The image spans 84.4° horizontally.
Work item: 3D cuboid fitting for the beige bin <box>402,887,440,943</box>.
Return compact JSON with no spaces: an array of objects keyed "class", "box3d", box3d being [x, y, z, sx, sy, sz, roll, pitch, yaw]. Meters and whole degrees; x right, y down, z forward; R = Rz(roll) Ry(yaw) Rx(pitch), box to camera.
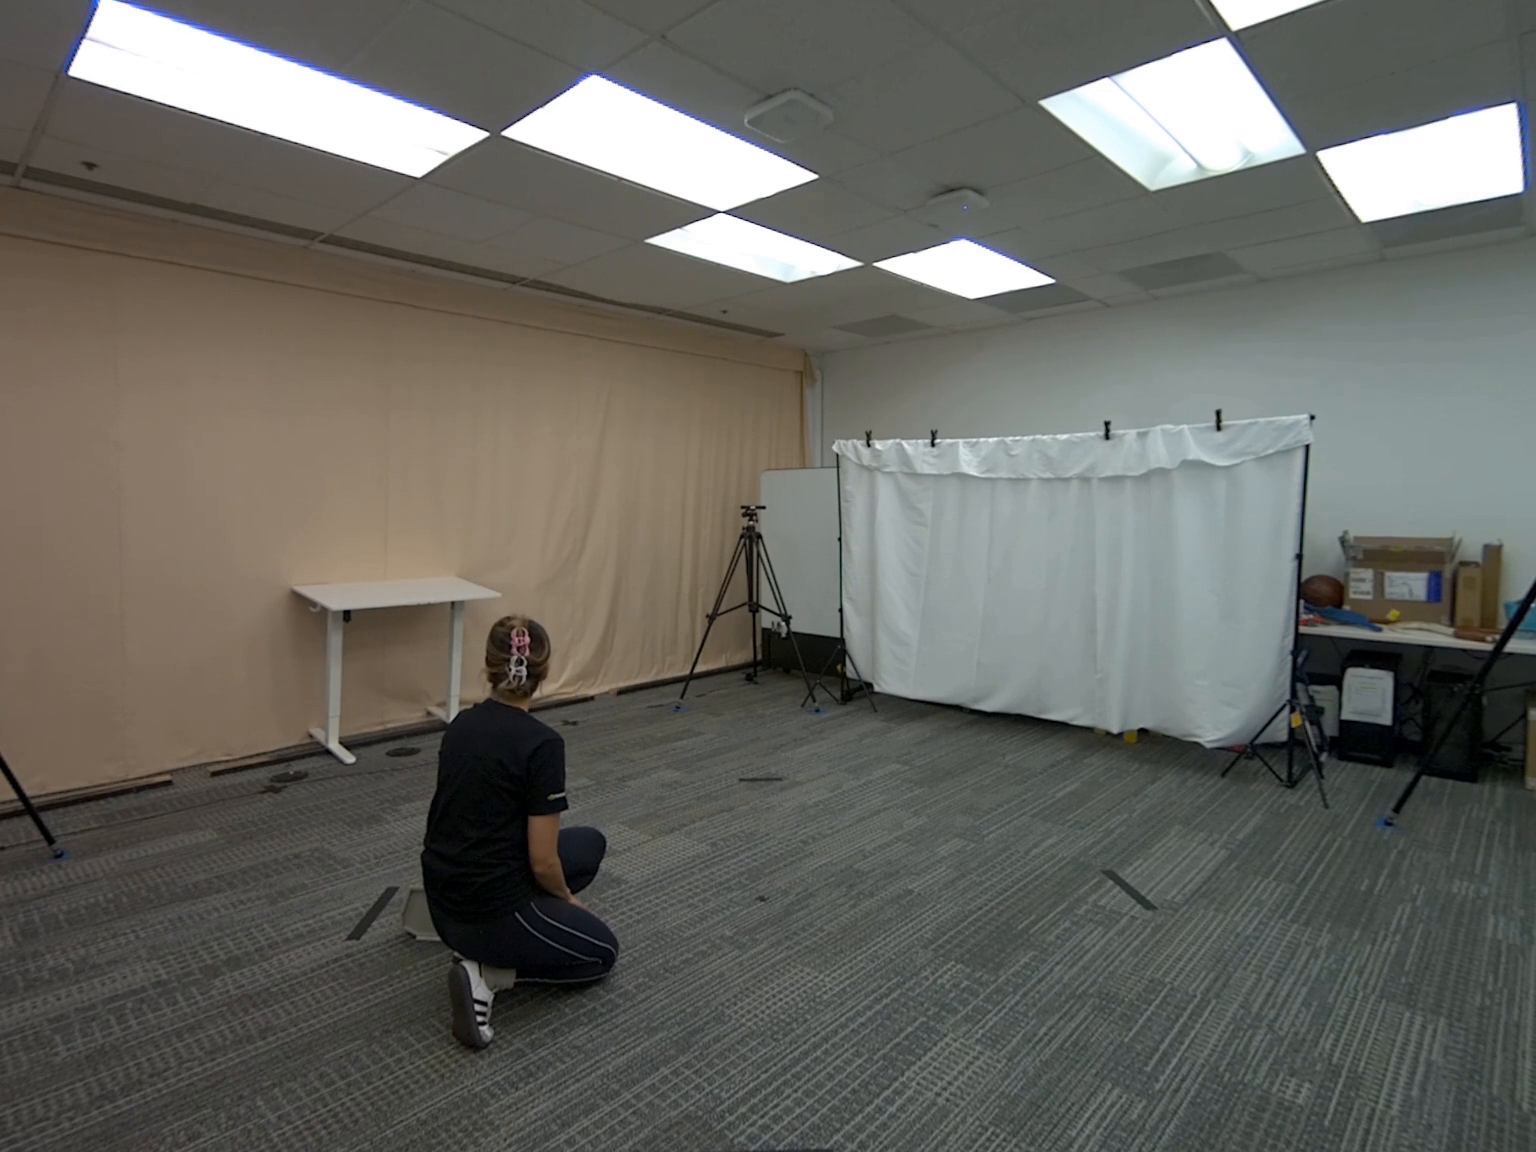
[{"class":"beige bin","box3d":[-1.005,1.074,2.898,0.379,0.188,0.421,1,4,3]}]
